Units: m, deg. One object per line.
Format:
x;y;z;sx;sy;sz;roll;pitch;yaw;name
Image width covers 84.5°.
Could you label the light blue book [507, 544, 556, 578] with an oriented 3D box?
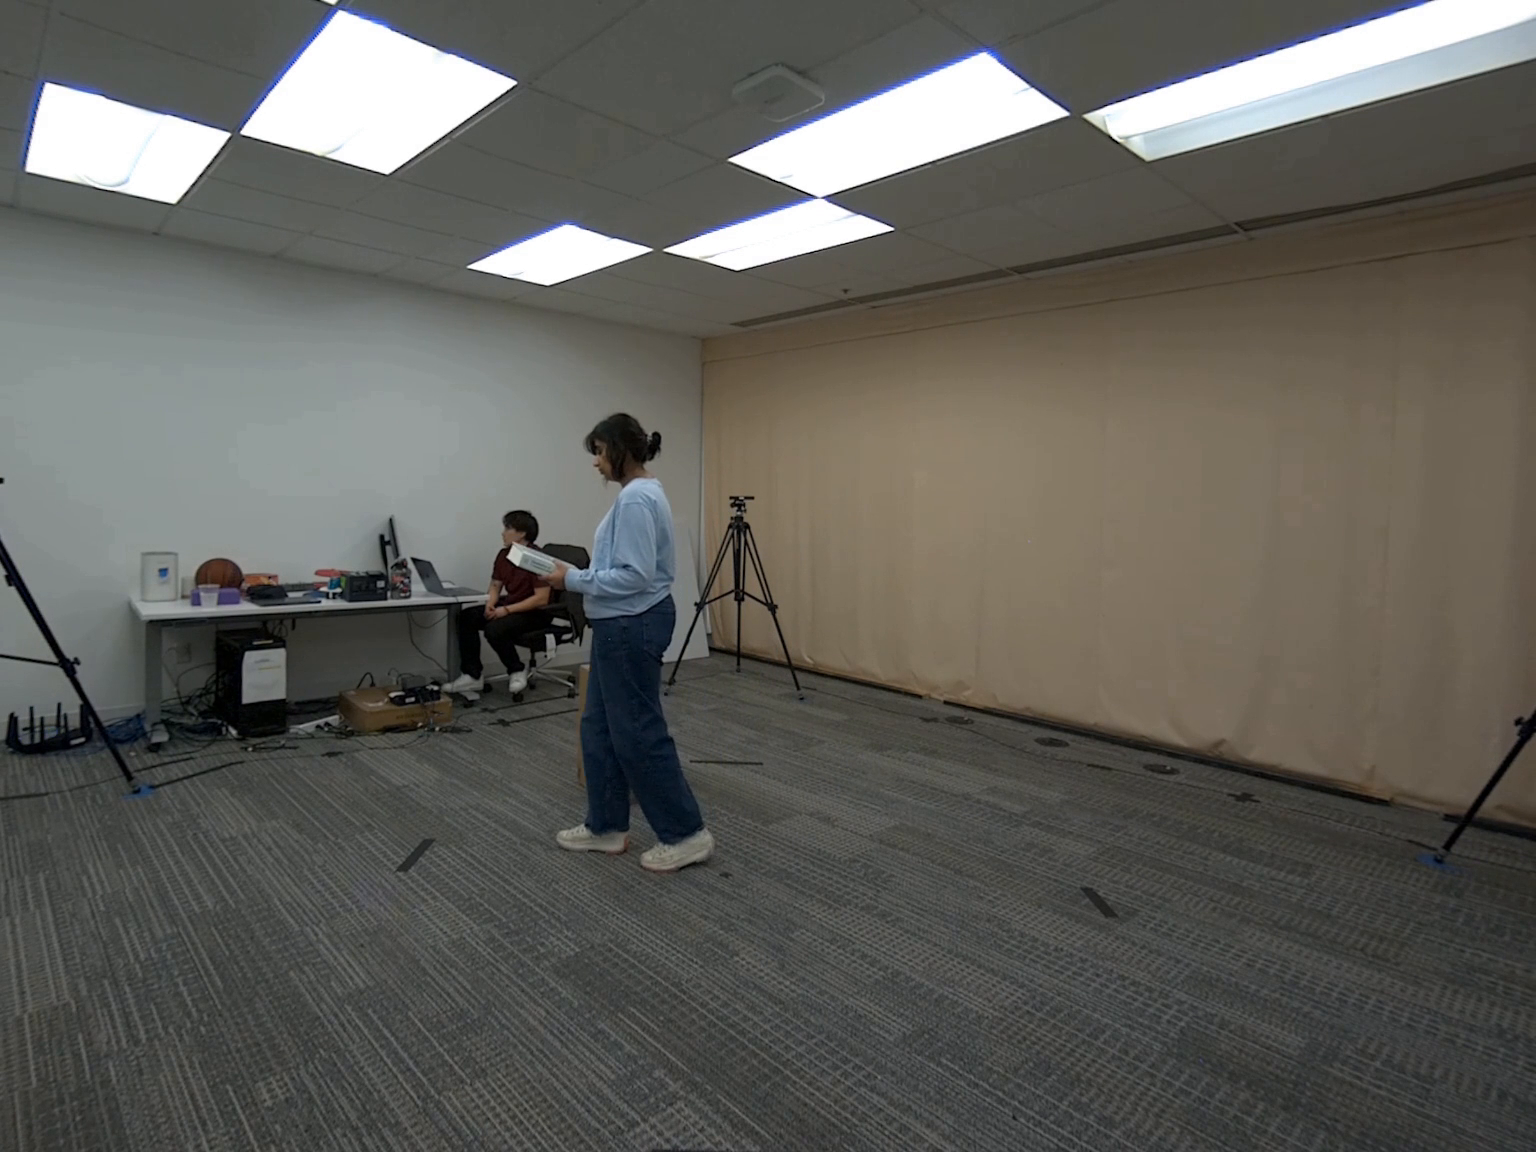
-0.830;-0.037;3.167;0.254;0.059;0.196;23;1;-30;light blue book
